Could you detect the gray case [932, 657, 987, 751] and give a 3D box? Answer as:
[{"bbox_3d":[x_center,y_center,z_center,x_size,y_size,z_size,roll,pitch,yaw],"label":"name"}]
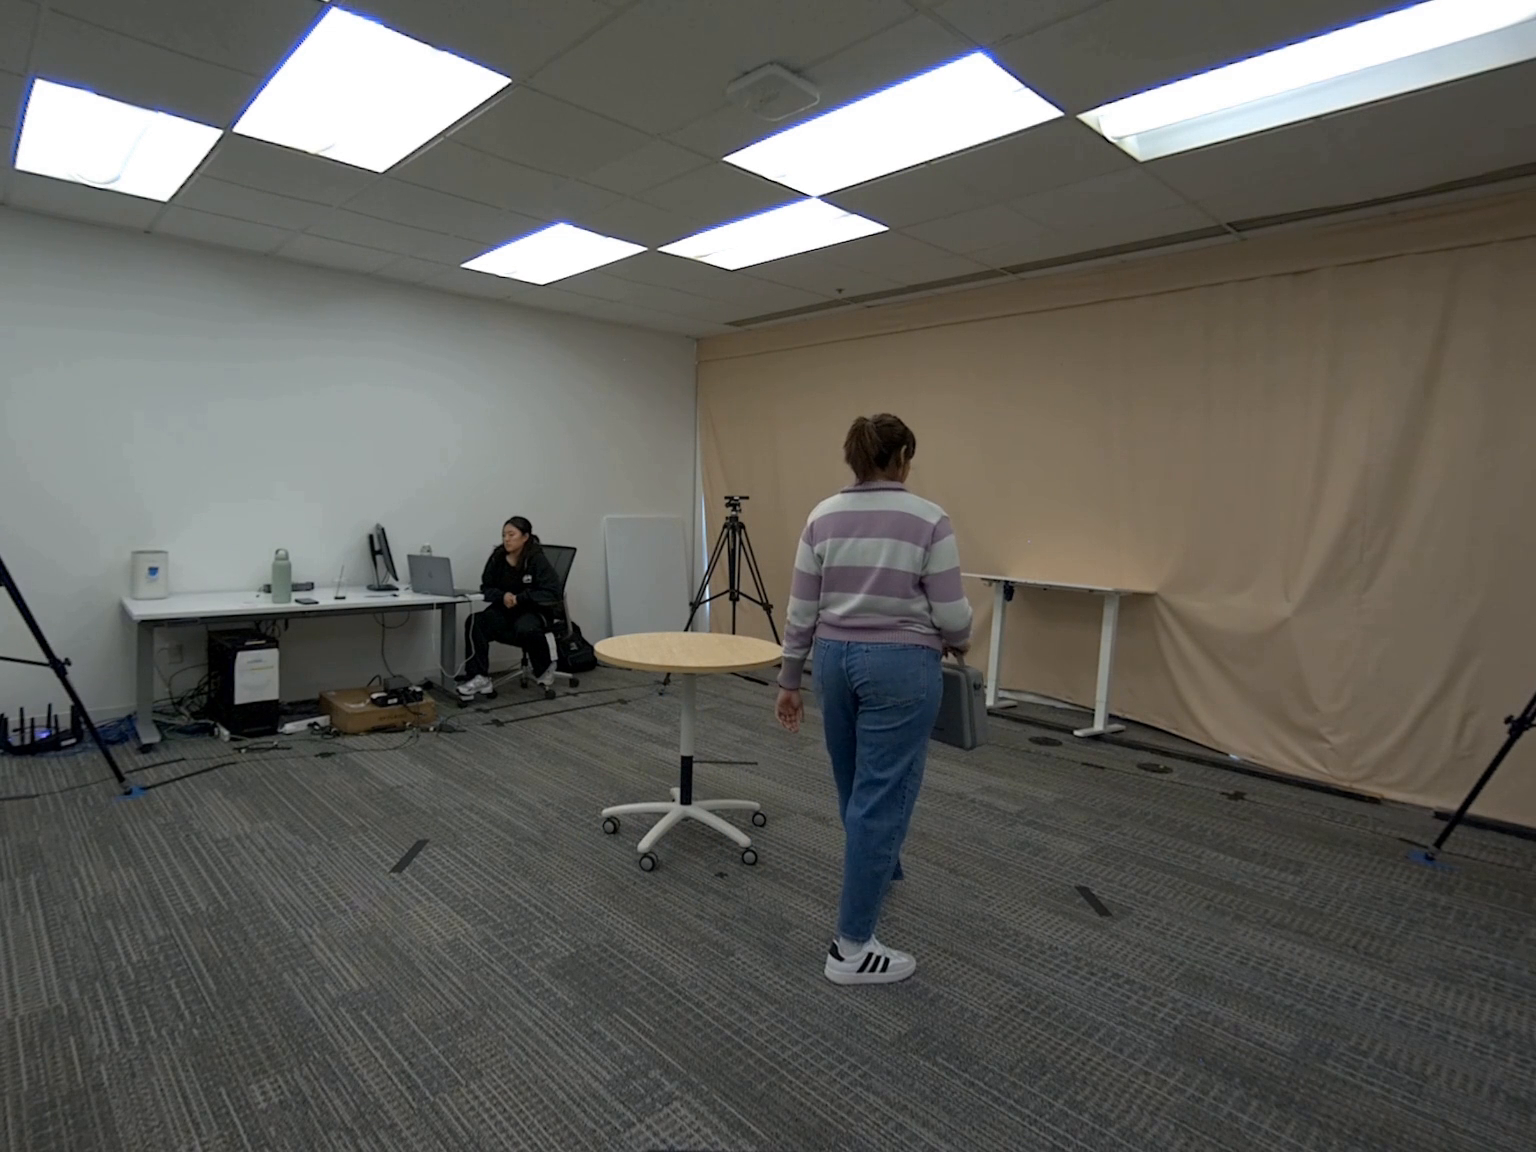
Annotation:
[{"bbox_3d":[0.577,0.403,2.715,0.102,0.260,0.262,-5,4,-26],"label":"gray case"}]
